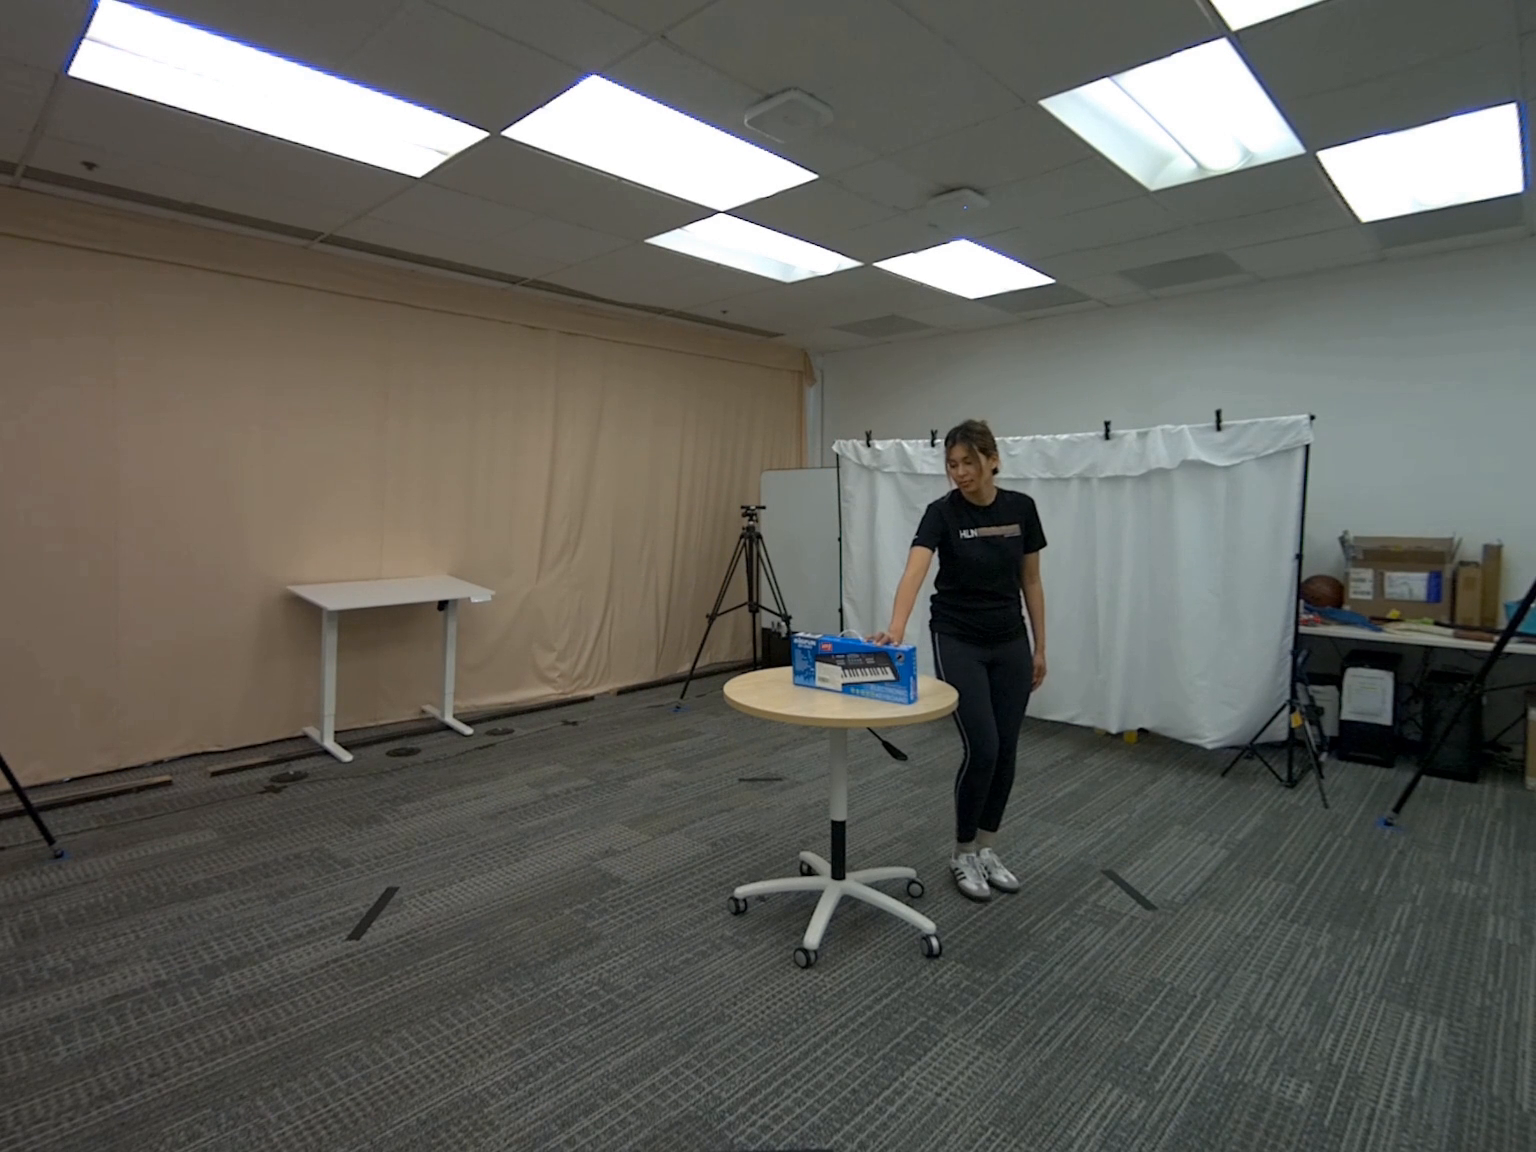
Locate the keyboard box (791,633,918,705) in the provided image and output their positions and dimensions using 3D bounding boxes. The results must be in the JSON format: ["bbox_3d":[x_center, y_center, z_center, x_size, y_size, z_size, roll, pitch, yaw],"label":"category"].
[{"bbox_3d":[0.275,0.295,2.718,0.451,0.175,0.057,4,9,39],"label":"keyboard box"}]
